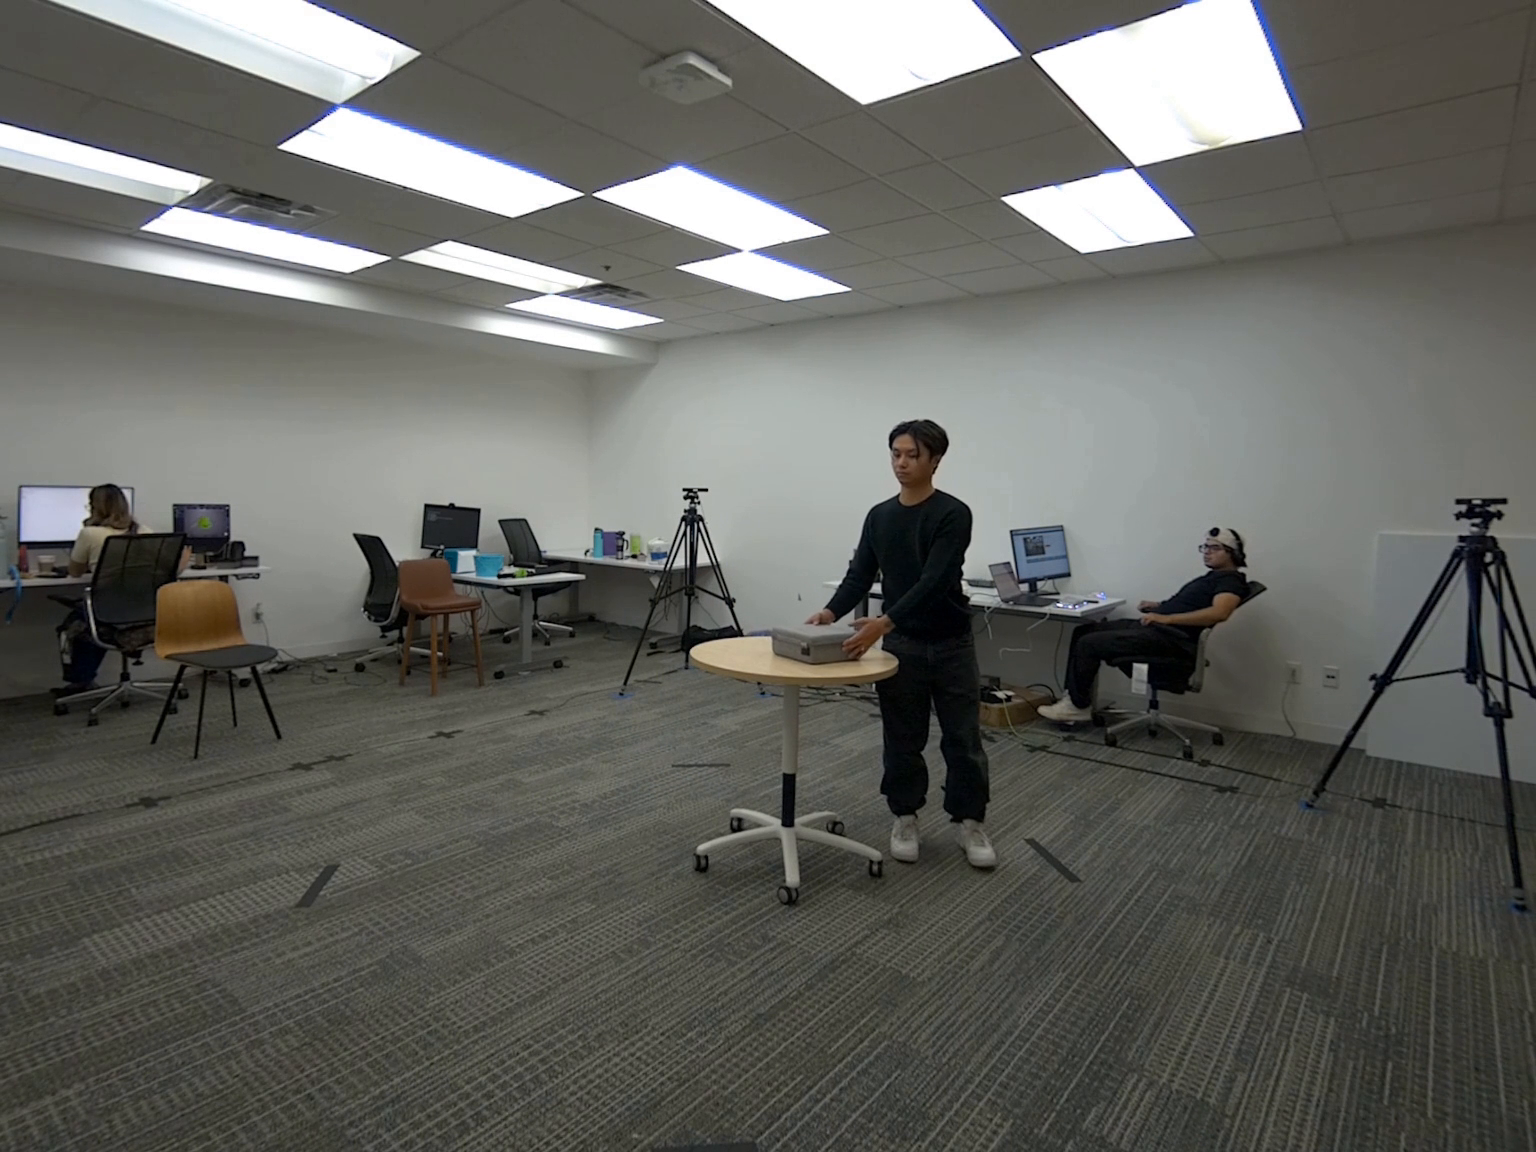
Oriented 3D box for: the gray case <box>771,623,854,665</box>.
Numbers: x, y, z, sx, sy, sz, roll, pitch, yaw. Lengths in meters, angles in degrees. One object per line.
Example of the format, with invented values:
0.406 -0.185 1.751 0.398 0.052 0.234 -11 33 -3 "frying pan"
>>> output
0.172 0.241 3.126 0.253 0.104 0.265 -2 6 -35 "gray case"
